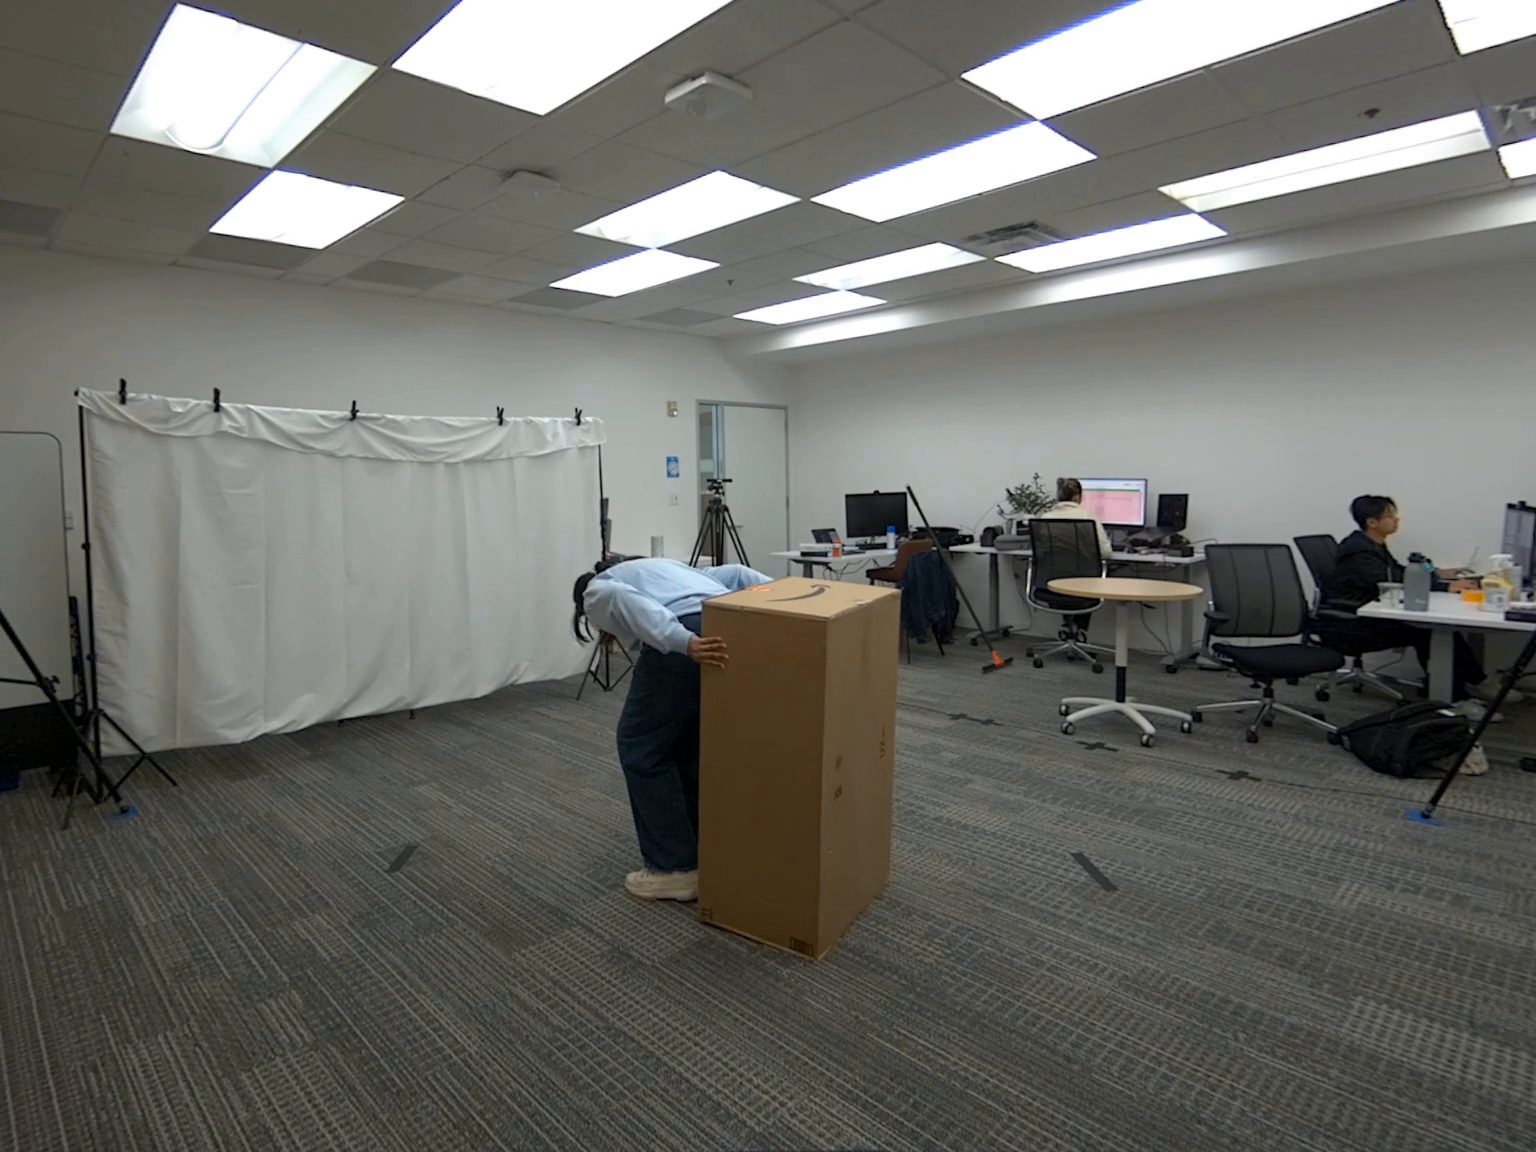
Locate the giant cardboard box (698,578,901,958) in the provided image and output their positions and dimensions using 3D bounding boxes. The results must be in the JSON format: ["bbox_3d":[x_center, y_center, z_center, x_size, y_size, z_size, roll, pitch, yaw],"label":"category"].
[{"bbox_3d":[0.110,0.565,2.757,0.438,1.019,0.565,5,9,31],"label":"giant cardboard box"}]
